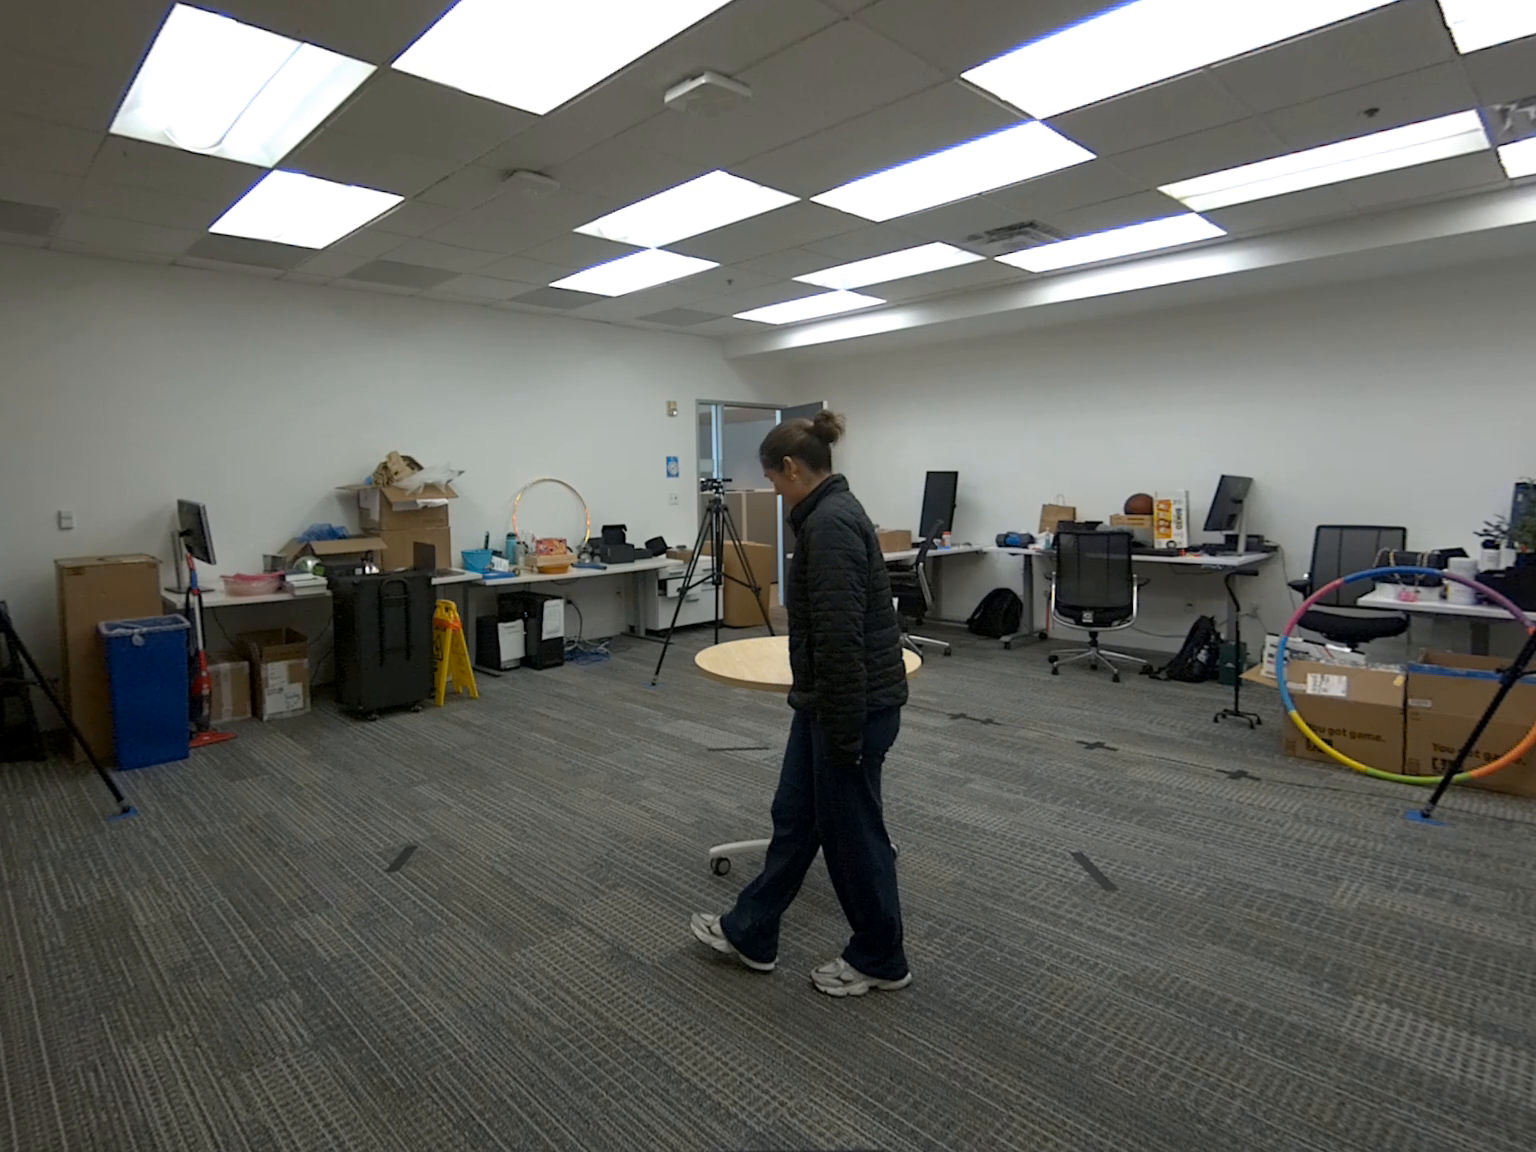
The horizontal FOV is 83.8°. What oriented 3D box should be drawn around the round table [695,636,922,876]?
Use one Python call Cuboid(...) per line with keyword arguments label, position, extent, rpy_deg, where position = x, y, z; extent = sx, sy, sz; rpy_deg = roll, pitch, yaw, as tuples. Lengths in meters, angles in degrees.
Cuboid(label="round table", position=(0.134, 0.664, 2.962), extent=(0.784, 0.783, 0.789), rpy_deg=(-1, 5, -2))
